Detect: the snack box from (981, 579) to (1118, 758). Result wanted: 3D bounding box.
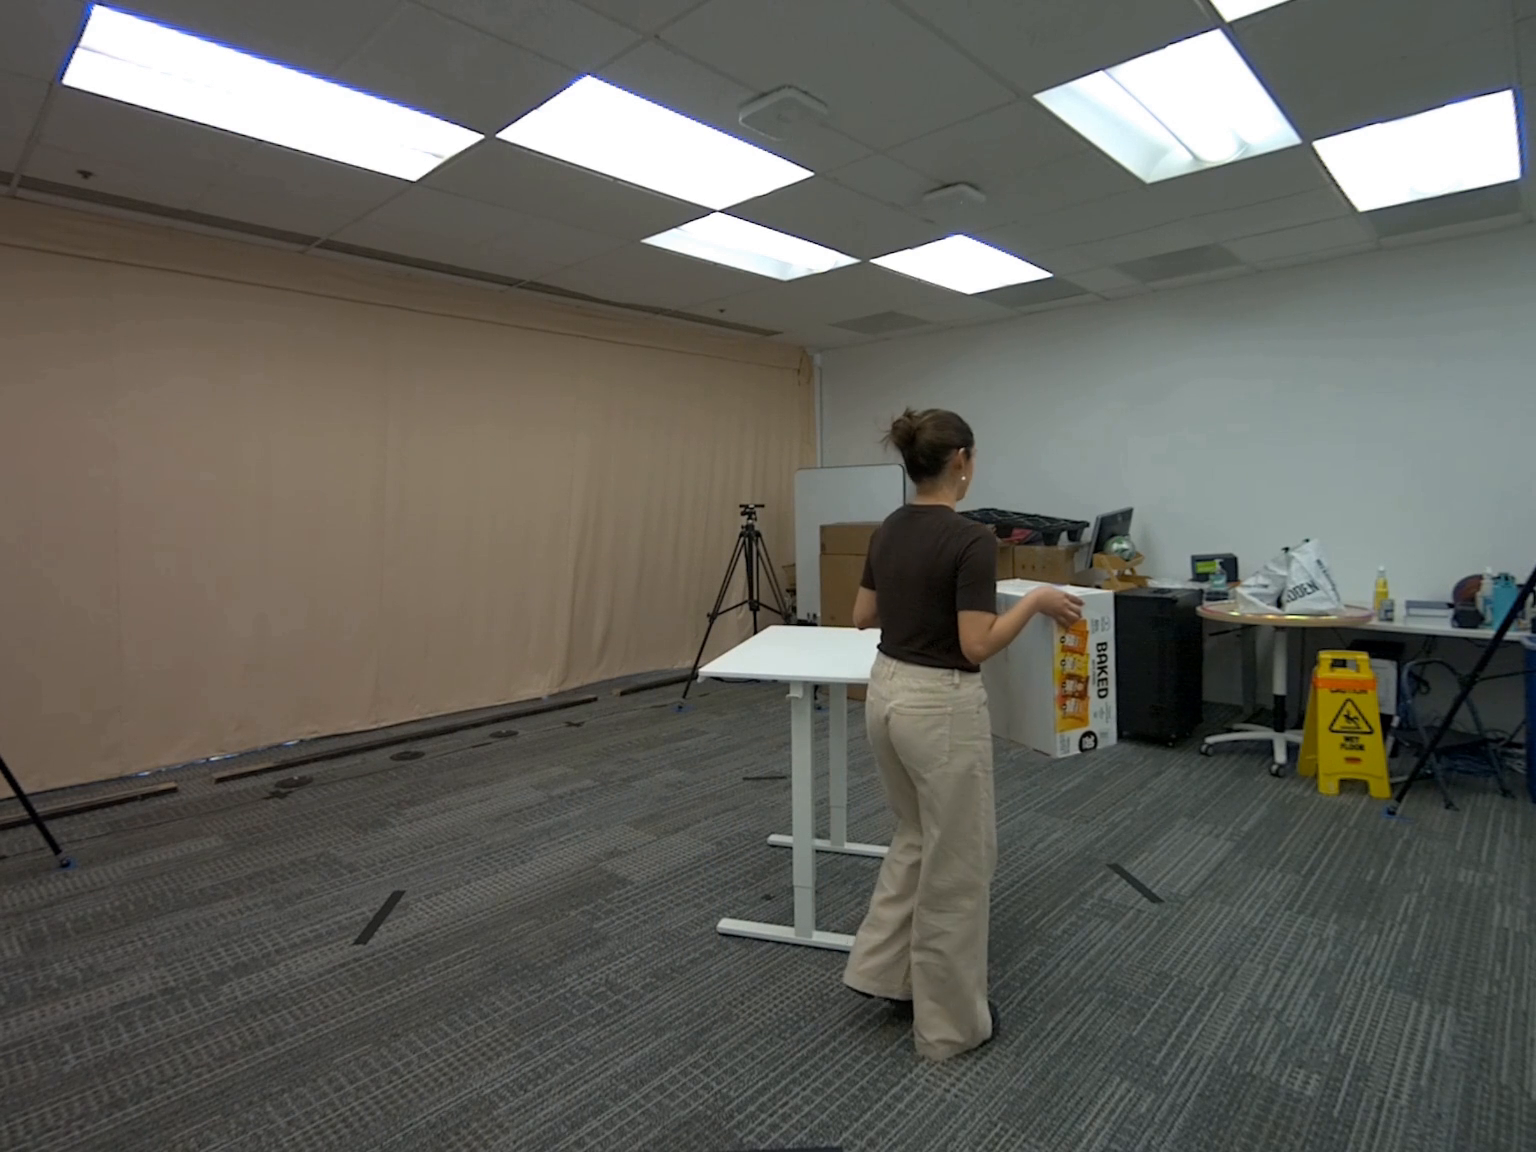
[{"bbox_3d":[0.733,0.236,2.268,0.201,0.404,0.349,-5,6,-25],"label":"snack box"}]
